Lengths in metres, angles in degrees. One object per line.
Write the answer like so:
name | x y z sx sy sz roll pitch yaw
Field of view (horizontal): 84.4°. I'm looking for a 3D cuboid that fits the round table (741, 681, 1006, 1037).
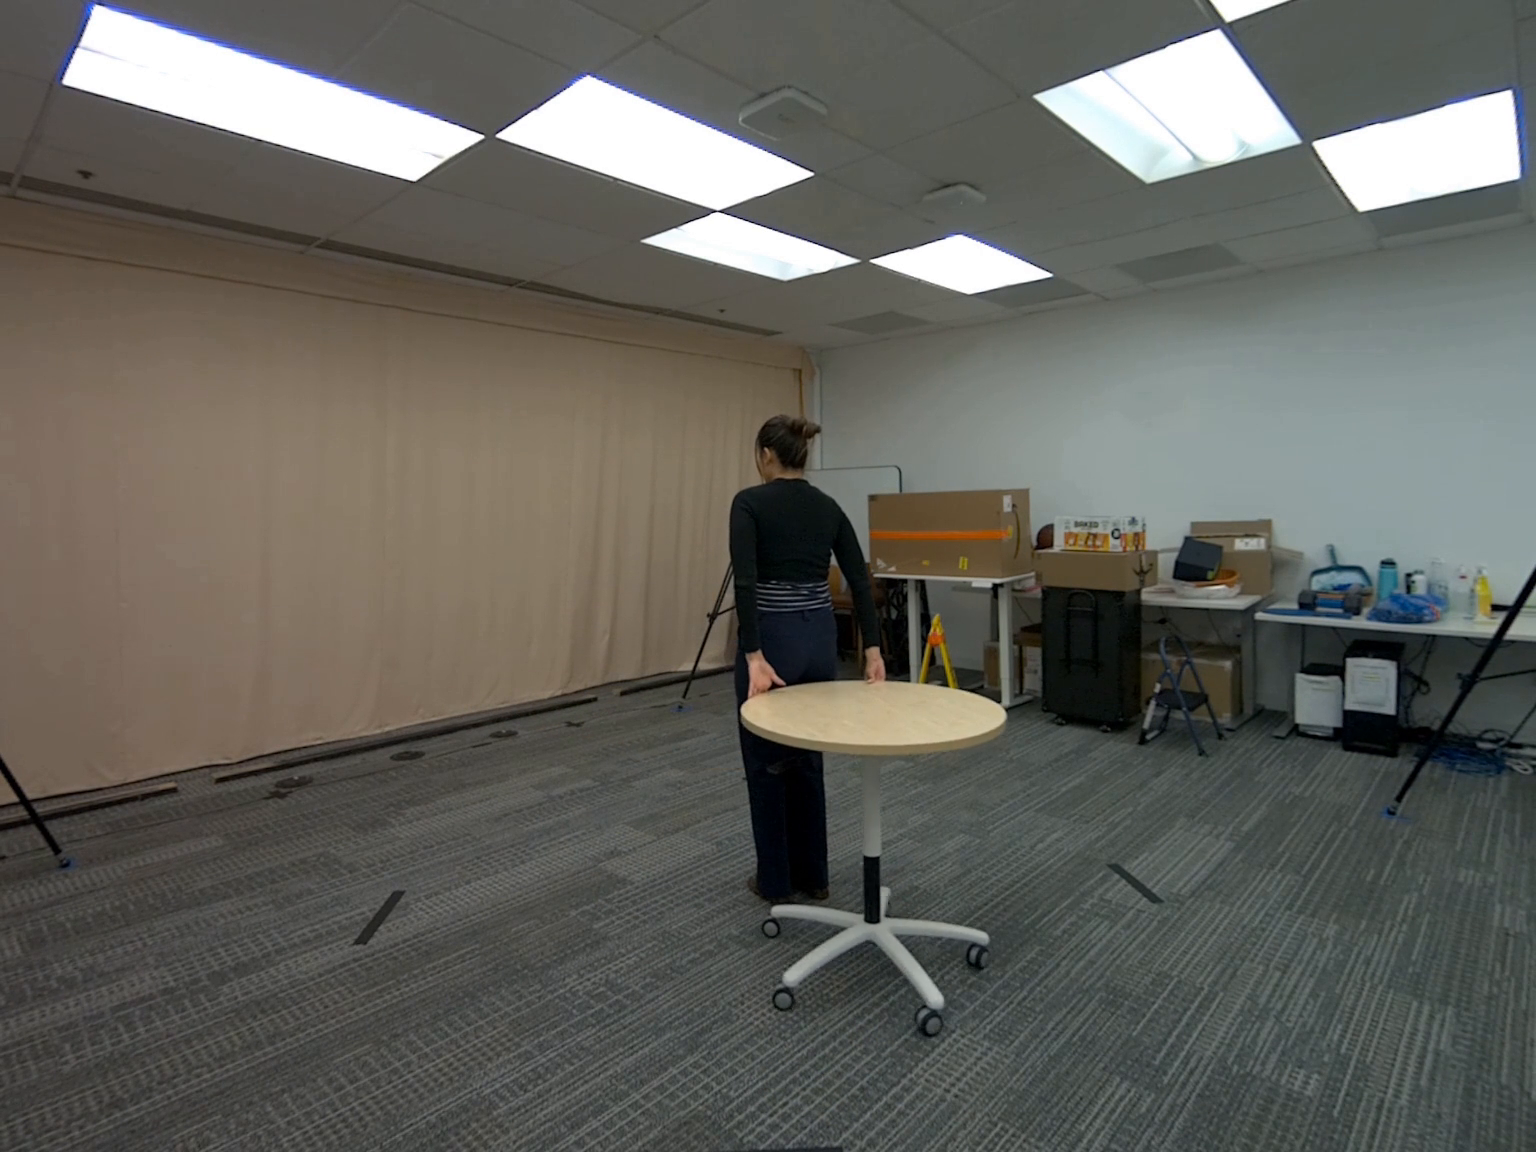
round table | 0.316 0.784 2.511 0.763 0.792 0.766 -1 4 -2
